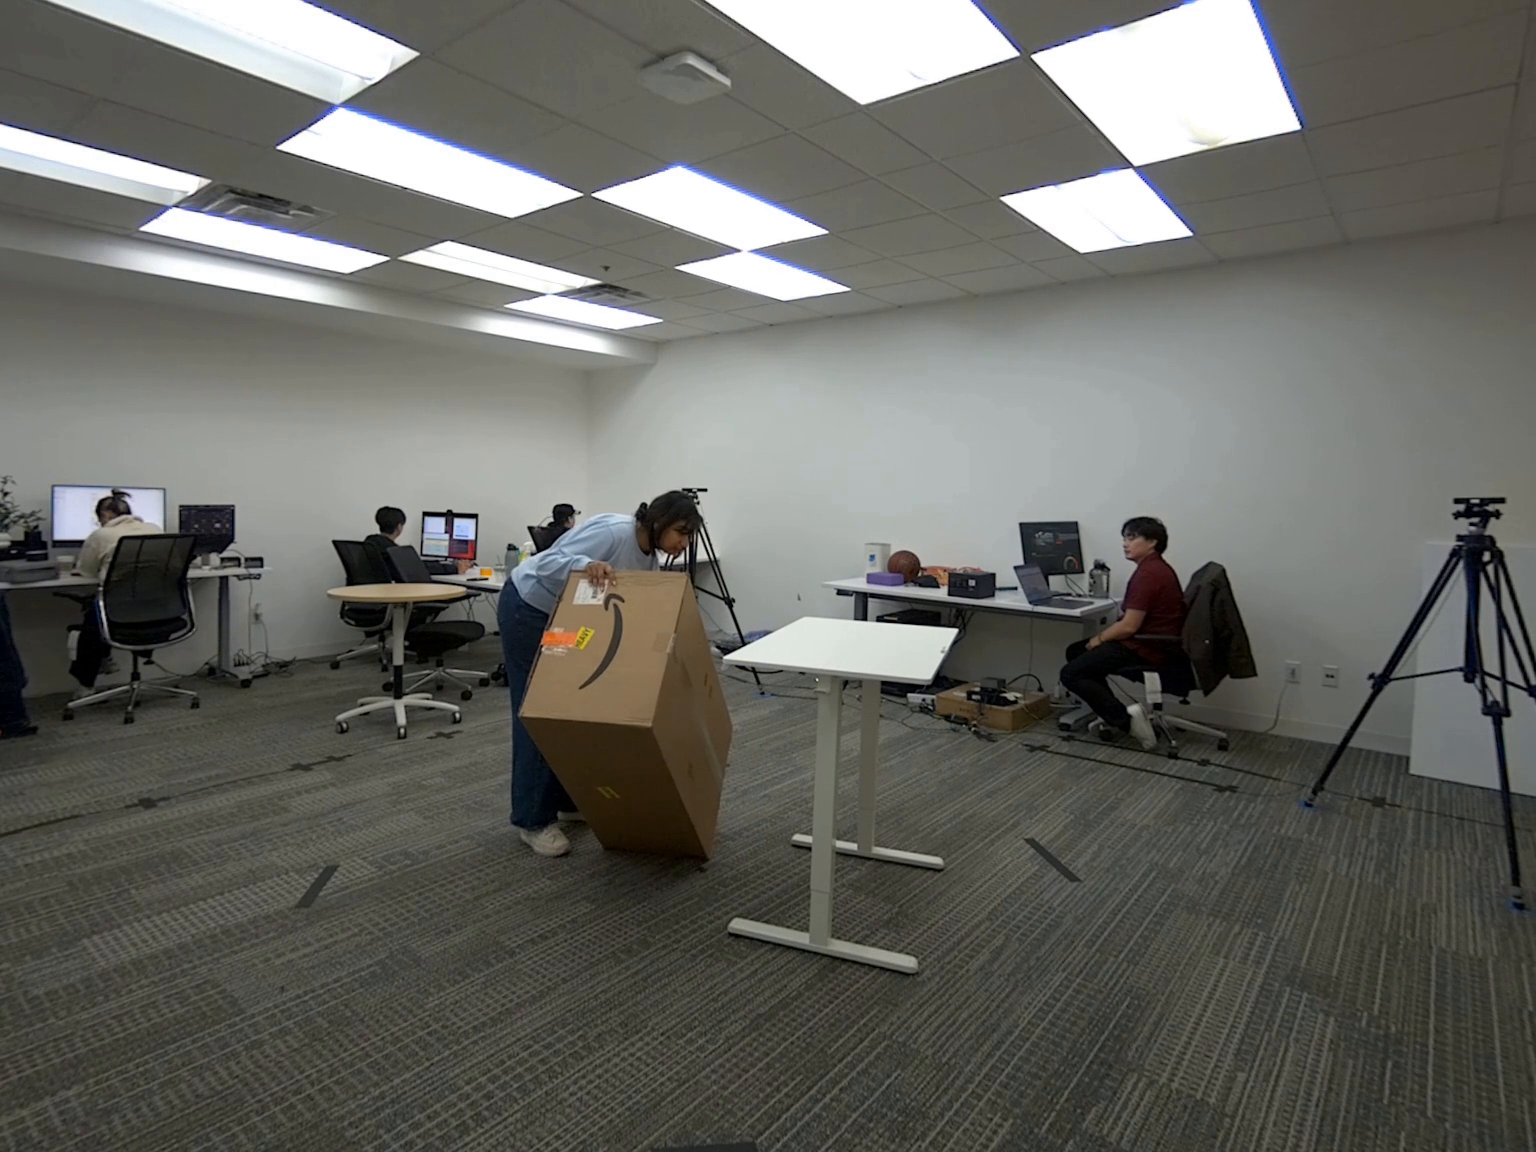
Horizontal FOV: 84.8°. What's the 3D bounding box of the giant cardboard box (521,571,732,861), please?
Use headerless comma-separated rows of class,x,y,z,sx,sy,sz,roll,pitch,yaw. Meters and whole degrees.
giant cardboard box,-0.458,0.518,3.041,0.431,0.590,0.991,1,-39,10
